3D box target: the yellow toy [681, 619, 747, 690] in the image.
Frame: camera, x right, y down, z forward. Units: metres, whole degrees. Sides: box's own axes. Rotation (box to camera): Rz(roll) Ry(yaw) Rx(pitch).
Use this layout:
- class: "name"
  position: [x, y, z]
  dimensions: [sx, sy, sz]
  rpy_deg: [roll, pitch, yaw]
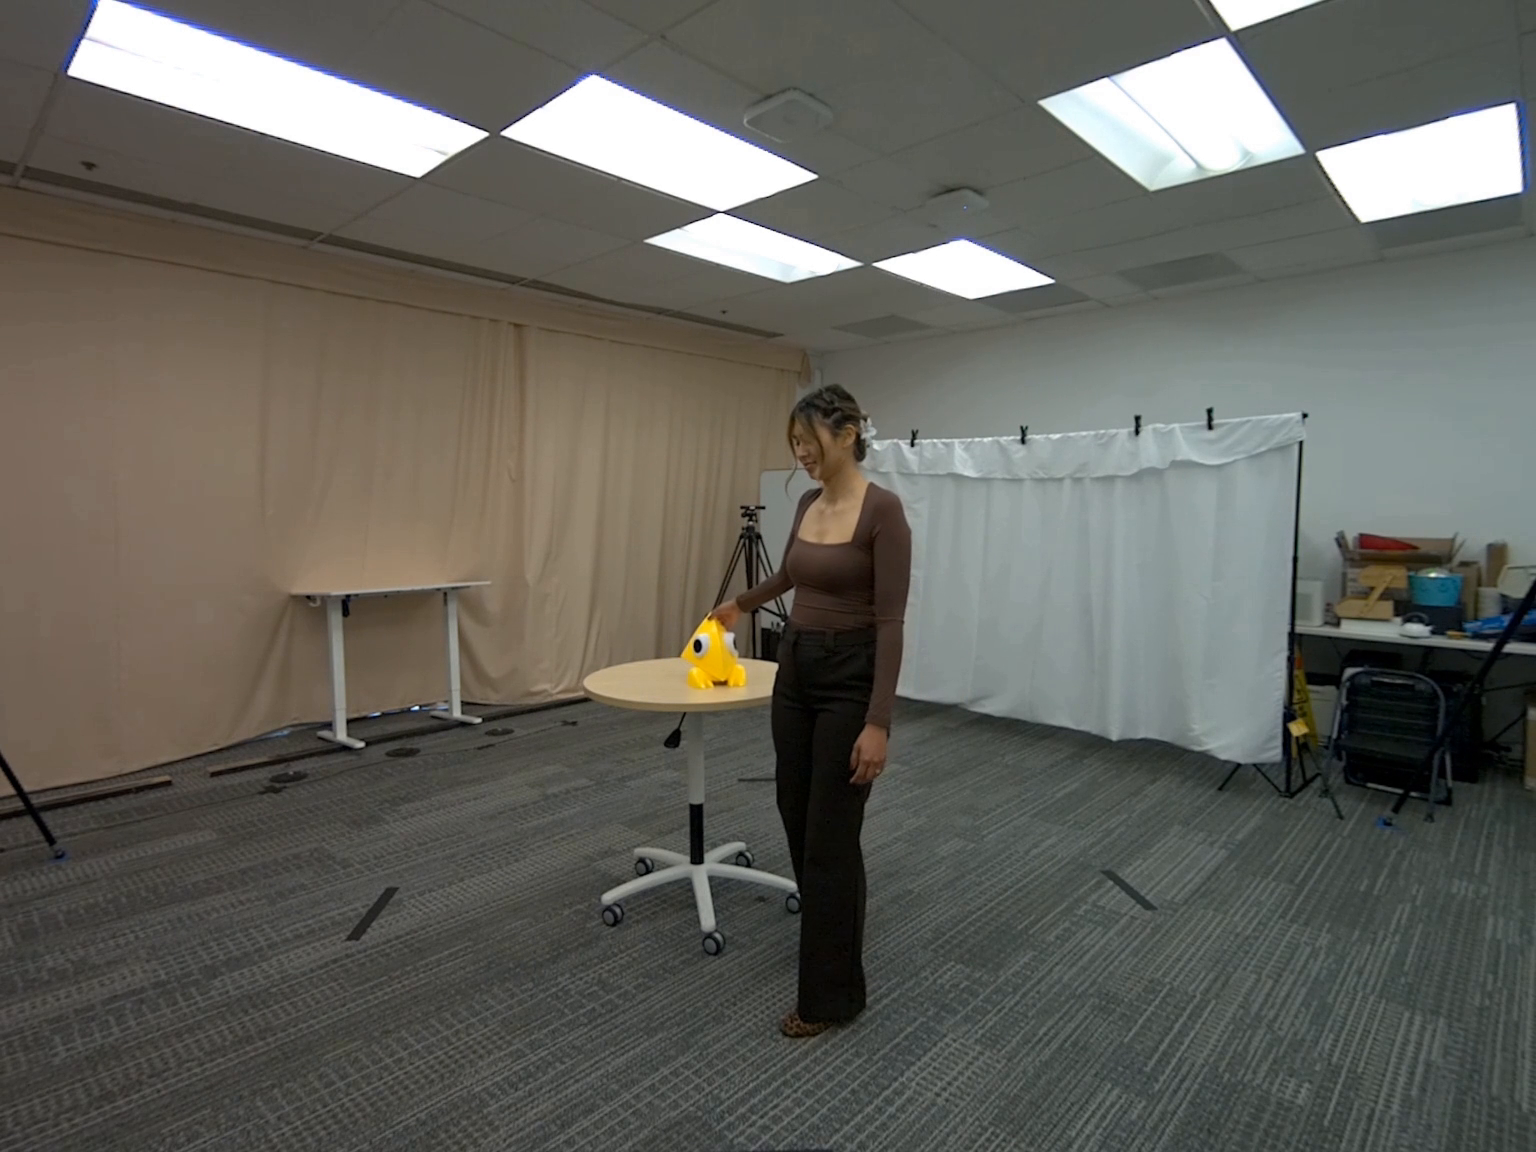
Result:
- class: "yellow toy"
  position: [-0.173, 0.246, 2.837]
  dimensions: [0.202, 0.230, 0.196]
  rpy_deg: [-1, 4, -15]
